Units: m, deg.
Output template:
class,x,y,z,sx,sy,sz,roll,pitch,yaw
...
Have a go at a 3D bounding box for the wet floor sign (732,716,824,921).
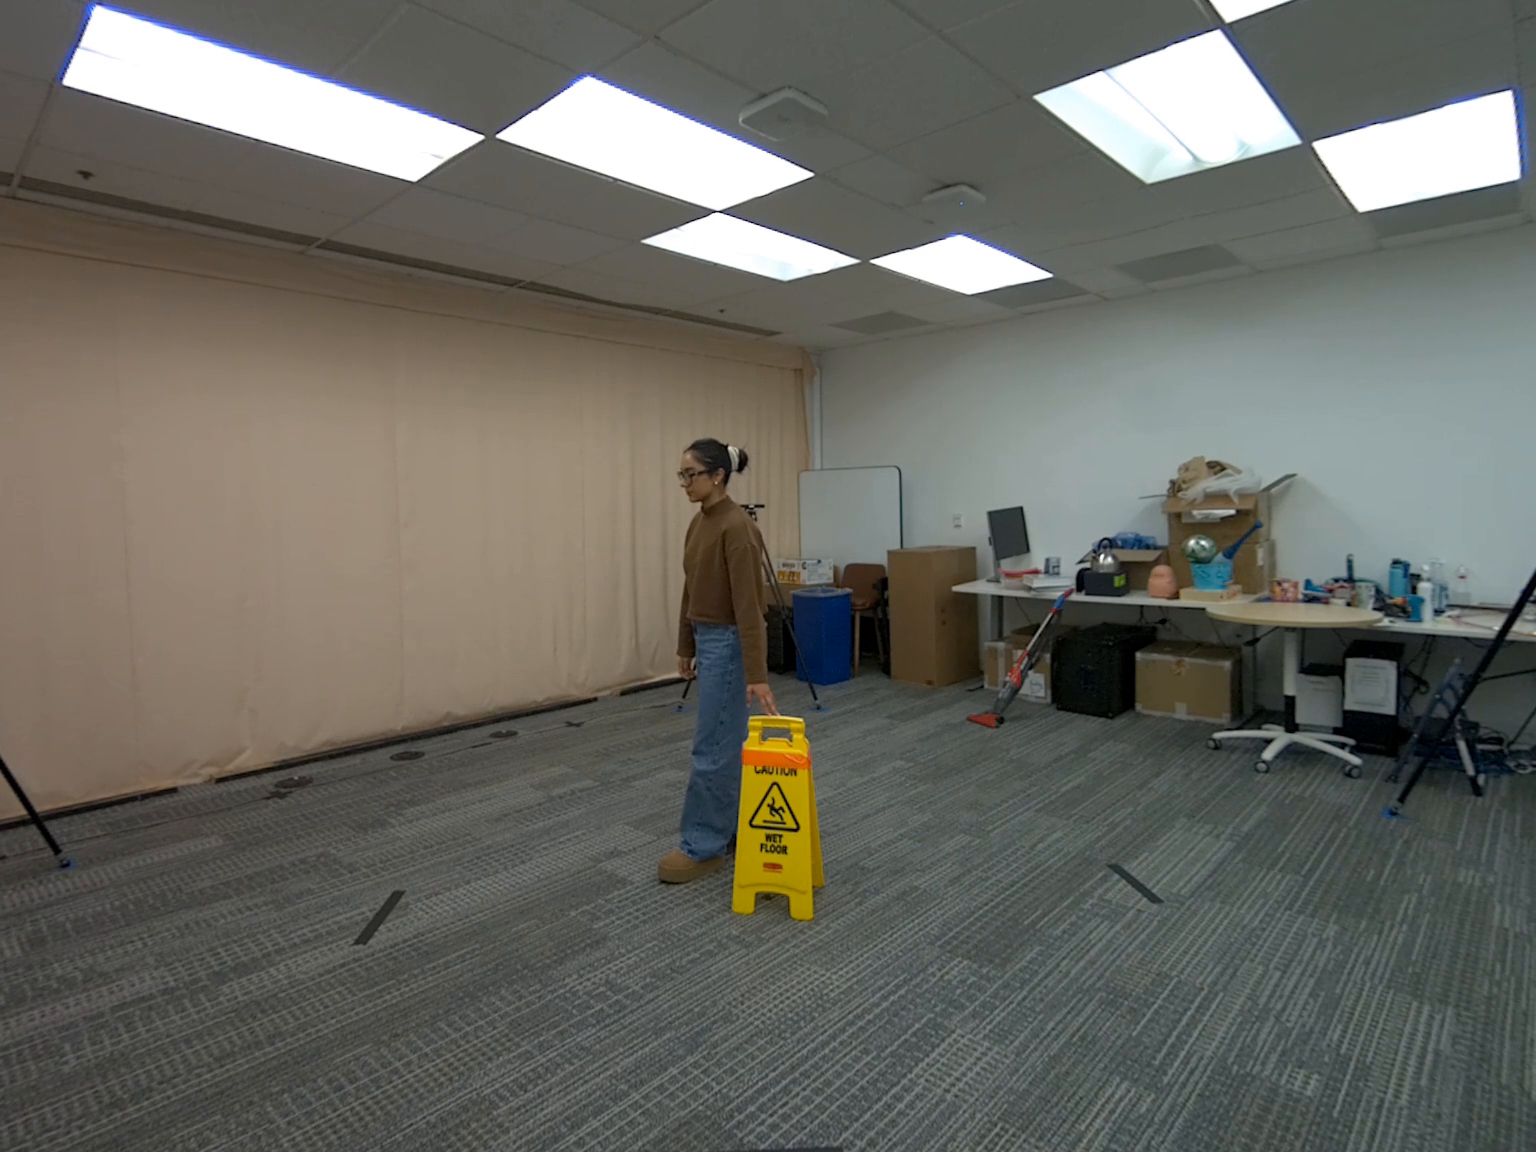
class,x,y,z,sx,sy,sz,roll,pitch,yaw
wet floor sign,0.040,0.815,2.964,0.287,0.645,0.285,1,3,14
